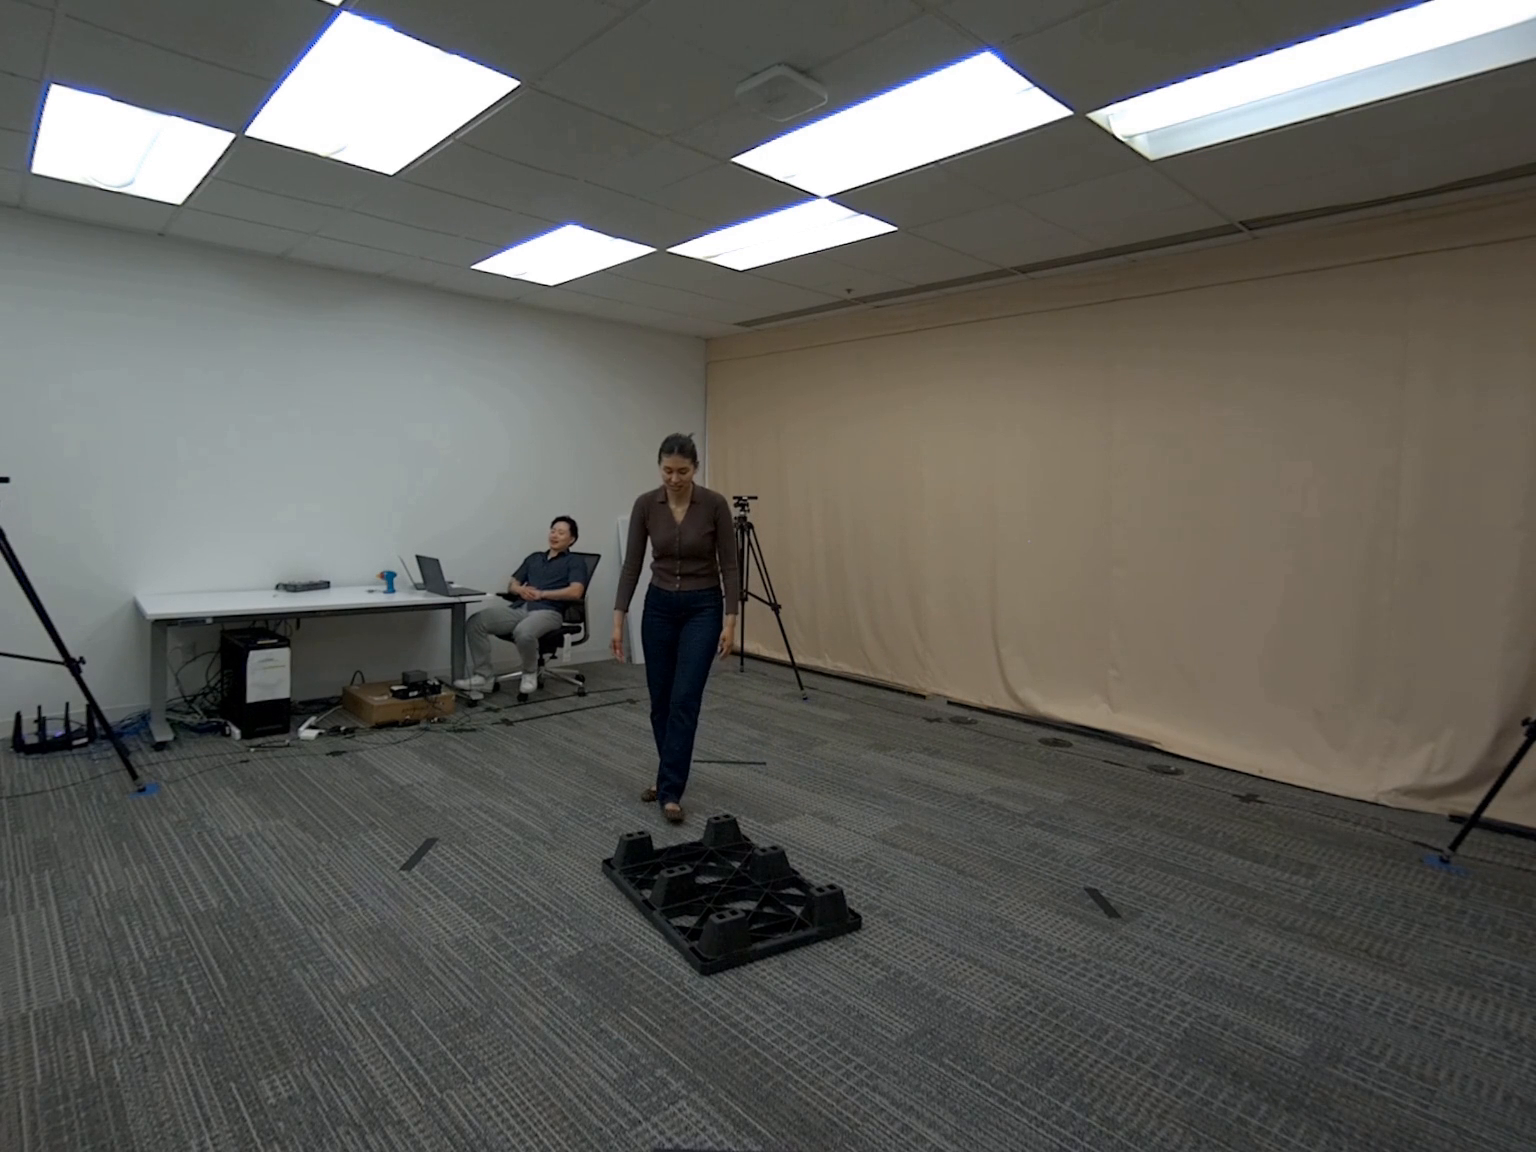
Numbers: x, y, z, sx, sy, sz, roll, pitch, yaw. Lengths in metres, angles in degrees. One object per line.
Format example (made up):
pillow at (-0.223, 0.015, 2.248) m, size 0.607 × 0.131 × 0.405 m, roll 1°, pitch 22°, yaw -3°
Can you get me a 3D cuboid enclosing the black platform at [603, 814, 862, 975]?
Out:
black platform at (-0.152, 1.052, 2.919) m, size 0.593 × 0.143 × 0.825 m, roll -2°, pitch 7°, yaw -32°
